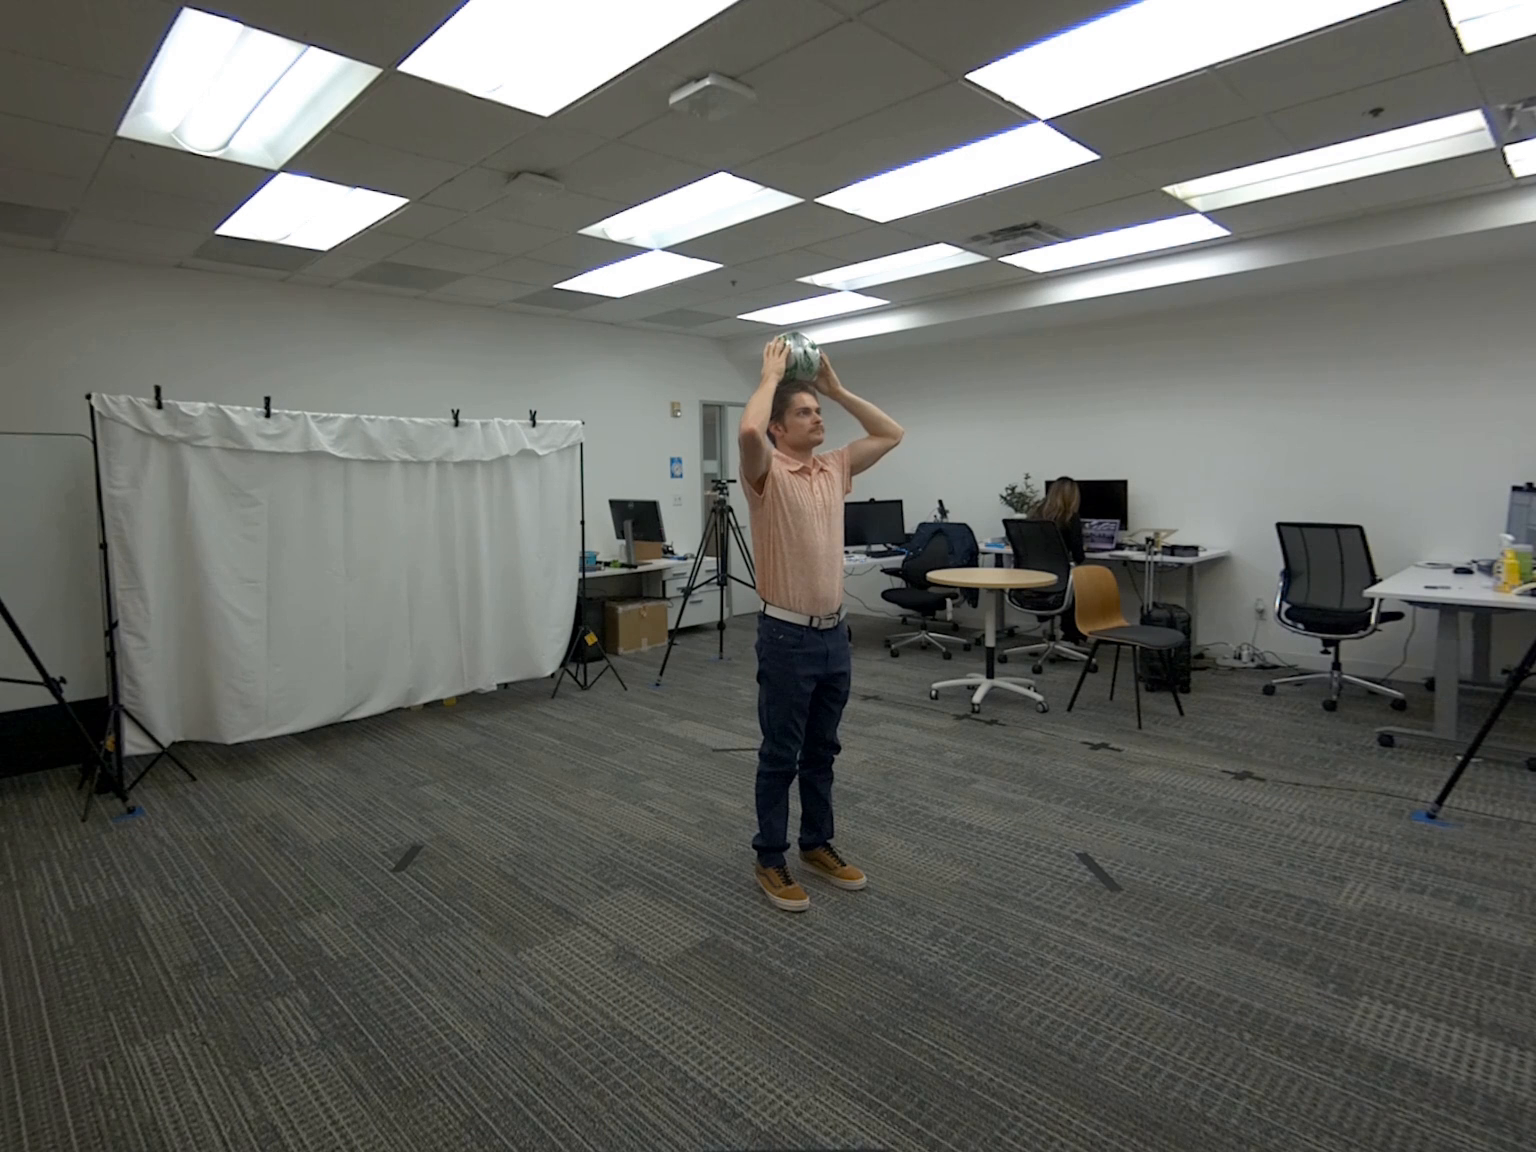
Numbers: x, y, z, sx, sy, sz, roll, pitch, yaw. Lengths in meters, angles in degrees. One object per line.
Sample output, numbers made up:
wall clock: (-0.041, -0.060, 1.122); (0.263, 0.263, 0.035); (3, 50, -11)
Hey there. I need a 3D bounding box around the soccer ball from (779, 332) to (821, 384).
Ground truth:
soccer ball: (0.085, -0.720, 2.870); (0.187, 0.187, 0.188); (-1, 5, -2)
